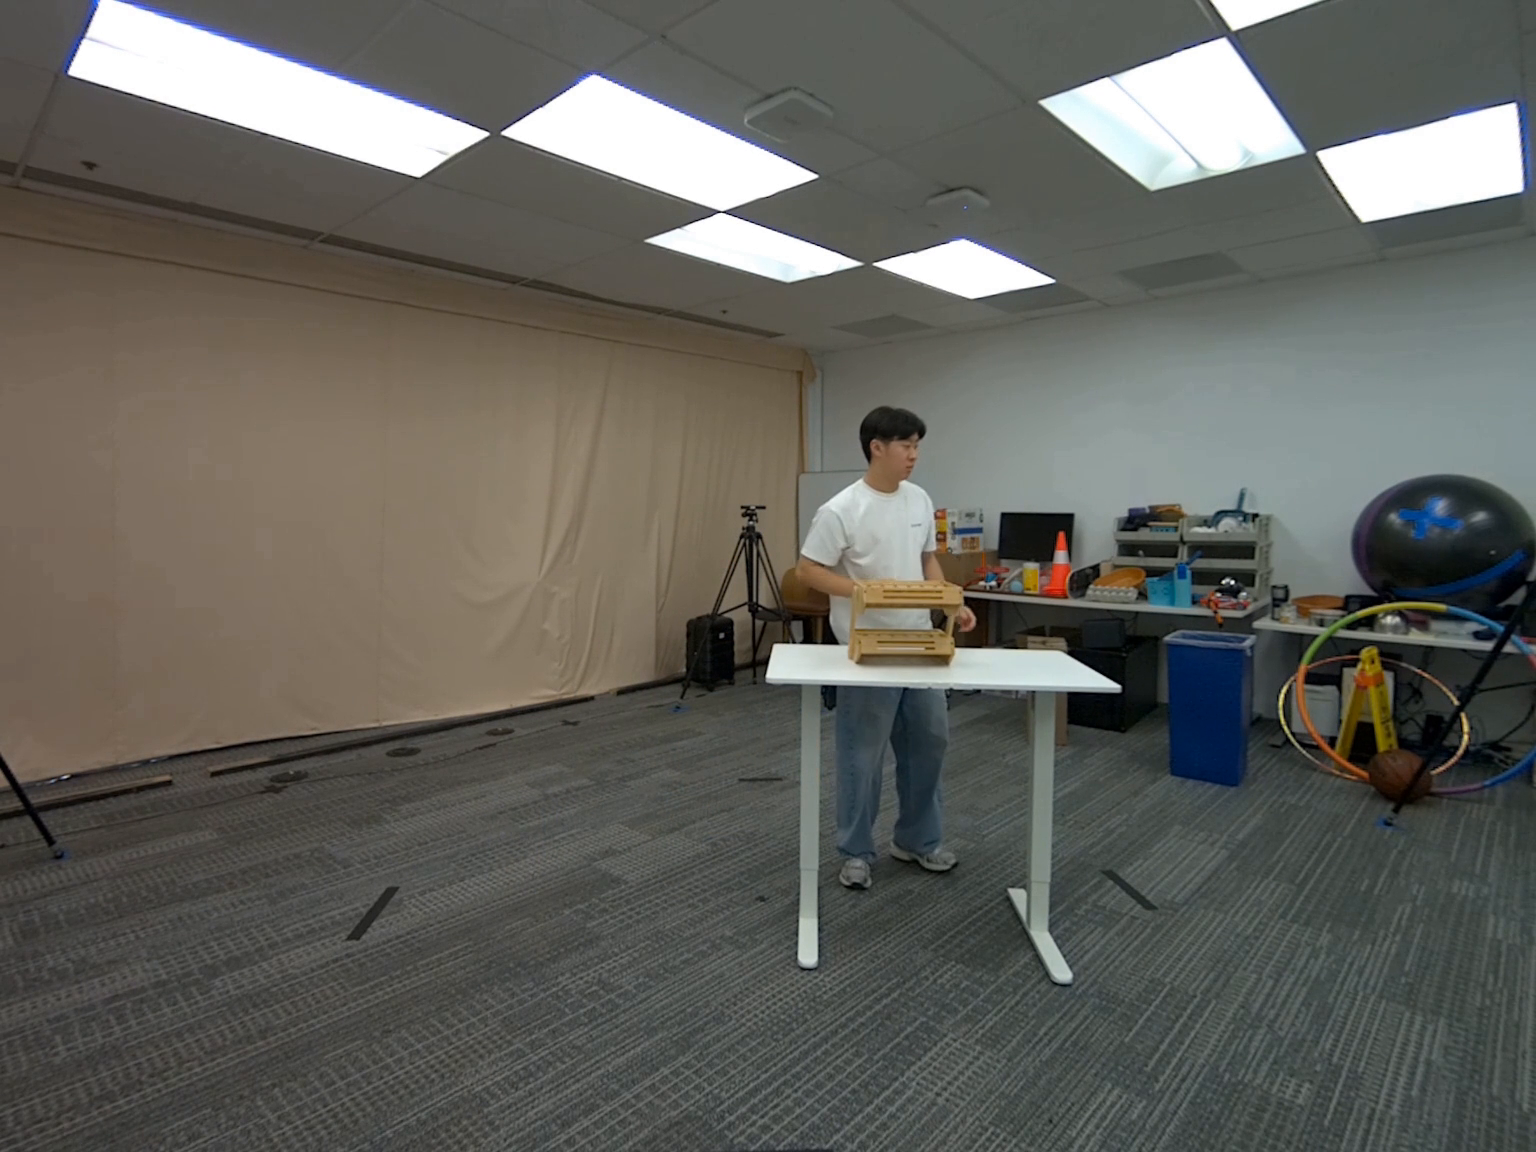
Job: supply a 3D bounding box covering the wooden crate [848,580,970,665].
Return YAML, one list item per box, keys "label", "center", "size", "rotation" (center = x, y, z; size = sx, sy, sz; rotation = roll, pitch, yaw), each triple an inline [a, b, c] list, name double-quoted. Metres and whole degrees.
- label: "wooden crate"
  center: [0.439, 0.163, 2.687]
  size: [0.325, 0.272, 0.302]
  rotation: [2, 4, 1]
